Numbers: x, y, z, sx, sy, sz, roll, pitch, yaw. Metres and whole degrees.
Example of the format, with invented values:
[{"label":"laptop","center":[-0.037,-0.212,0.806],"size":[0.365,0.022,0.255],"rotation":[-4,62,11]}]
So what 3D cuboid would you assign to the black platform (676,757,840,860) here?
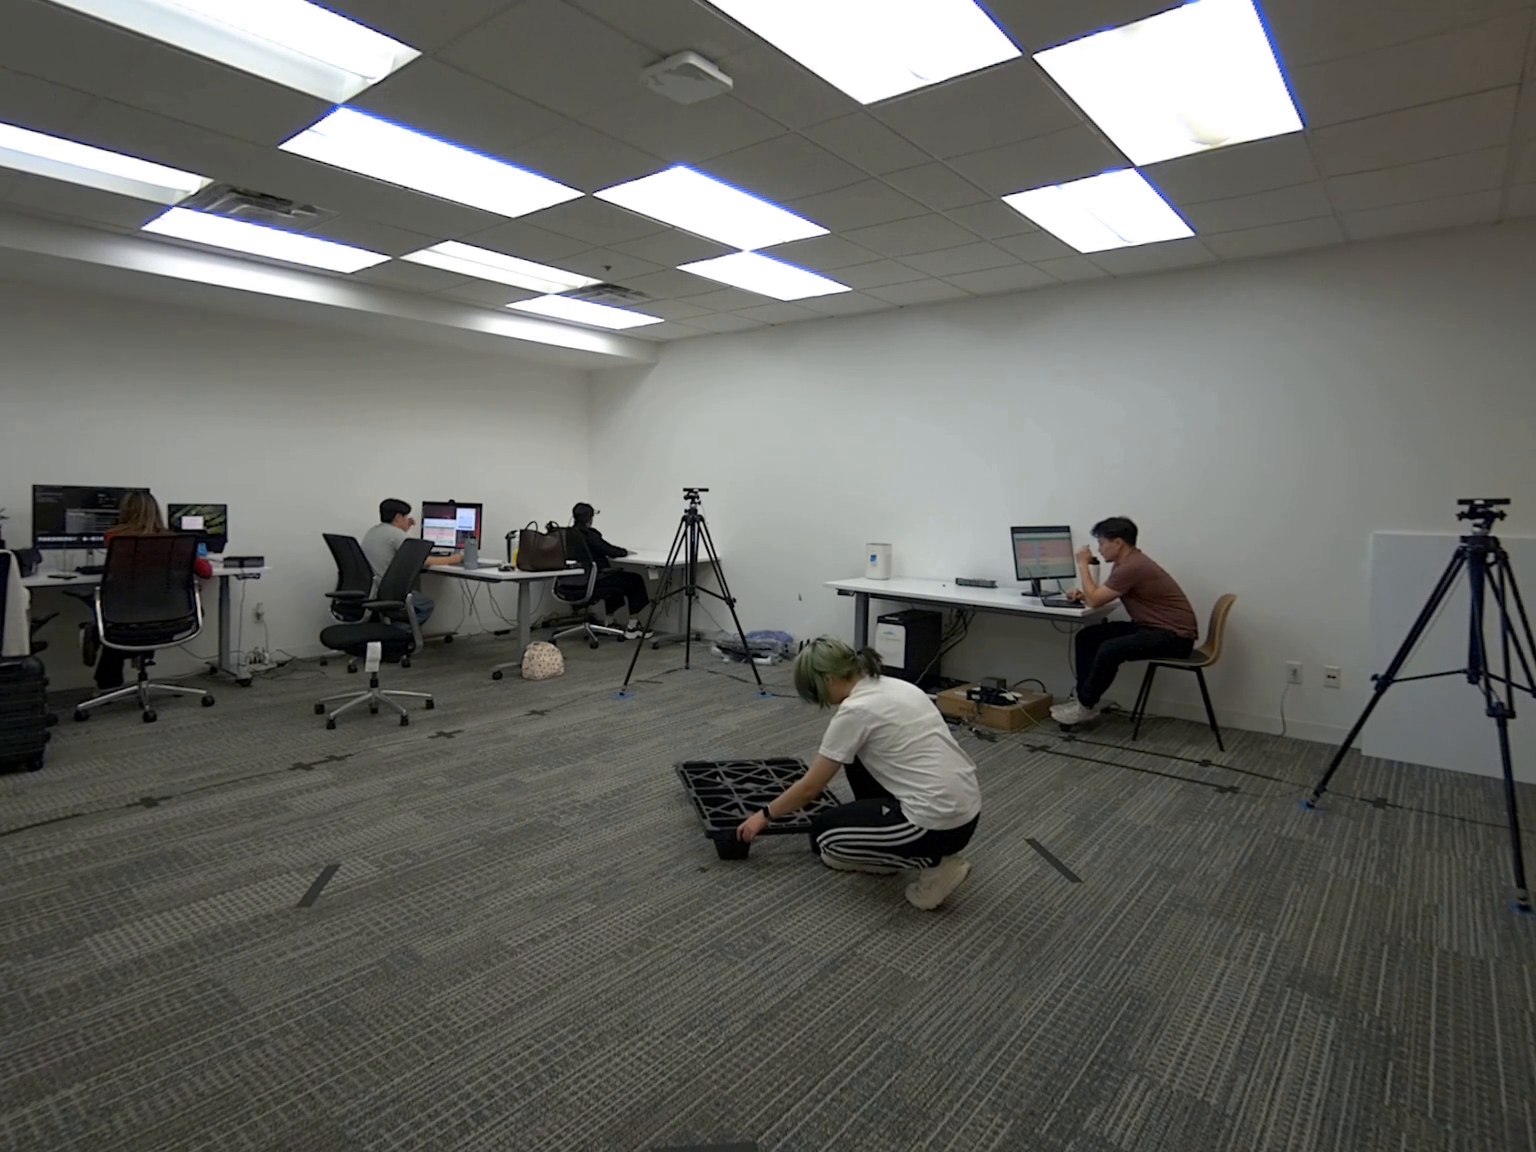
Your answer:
[{"label":"black platform","center":[-0.054,0.959,3.583],"size":[0.597,0.143,0.820],"rotation":[-1,6,-14]}]
